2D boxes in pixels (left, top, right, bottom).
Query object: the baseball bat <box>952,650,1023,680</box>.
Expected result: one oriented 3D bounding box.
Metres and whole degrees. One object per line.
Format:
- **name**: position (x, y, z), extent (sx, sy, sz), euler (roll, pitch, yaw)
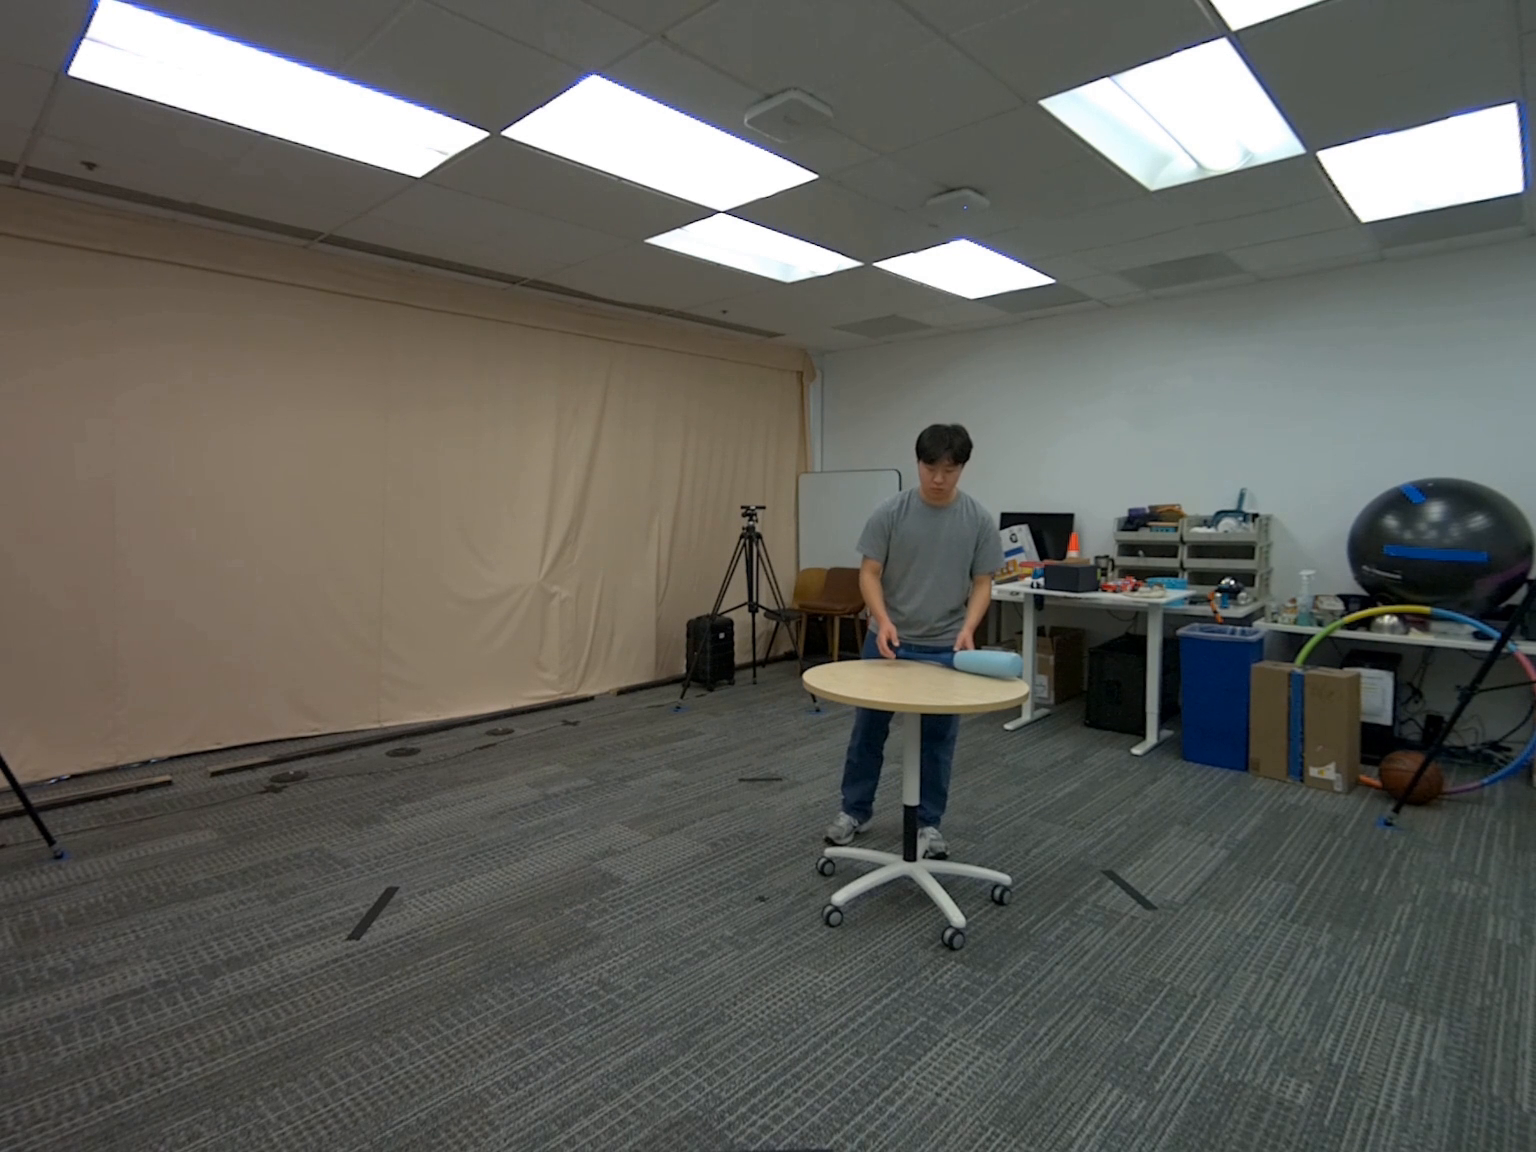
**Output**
- **baseball bat**: position (0.698, 0.314, 3.129), extent (0.086, 0.089, 0.559), euler (-3, 2, -37)
